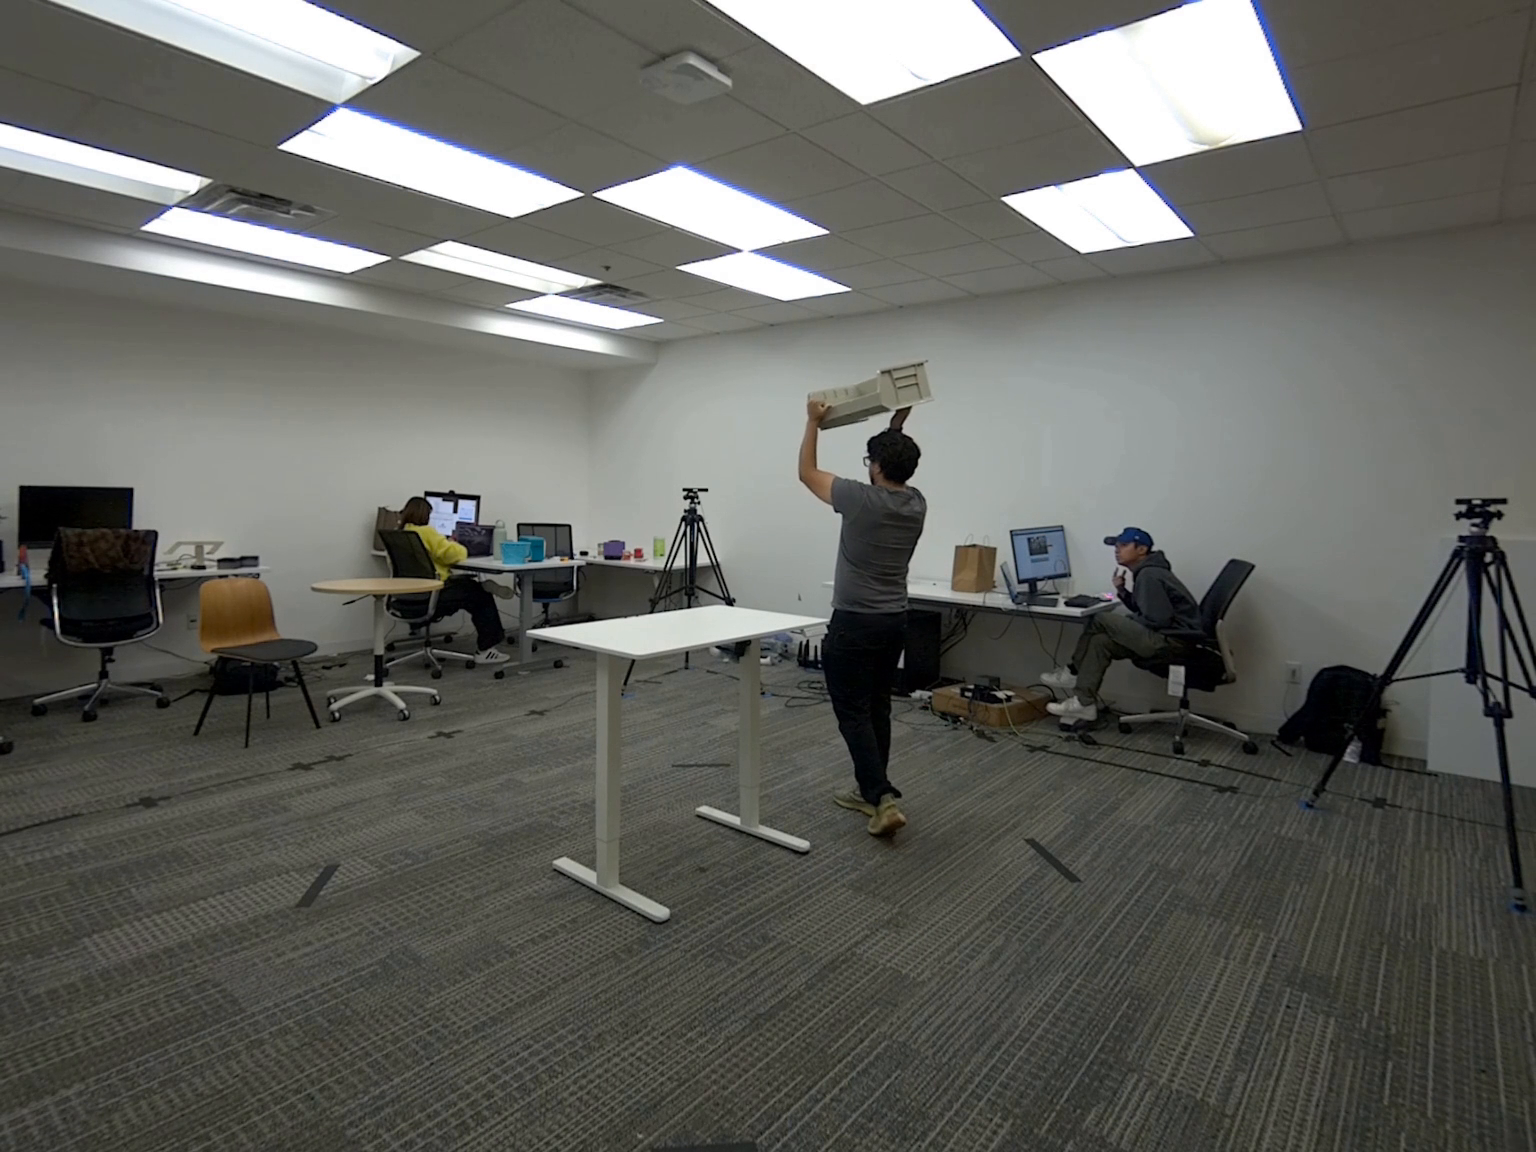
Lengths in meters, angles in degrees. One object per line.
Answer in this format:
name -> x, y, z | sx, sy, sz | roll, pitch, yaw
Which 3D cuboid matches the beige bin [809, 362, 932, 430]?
beige bin -> 0.437, -0.788, 3.730 | 0.369, 0.188, 0.433 | -19, 7, -41
